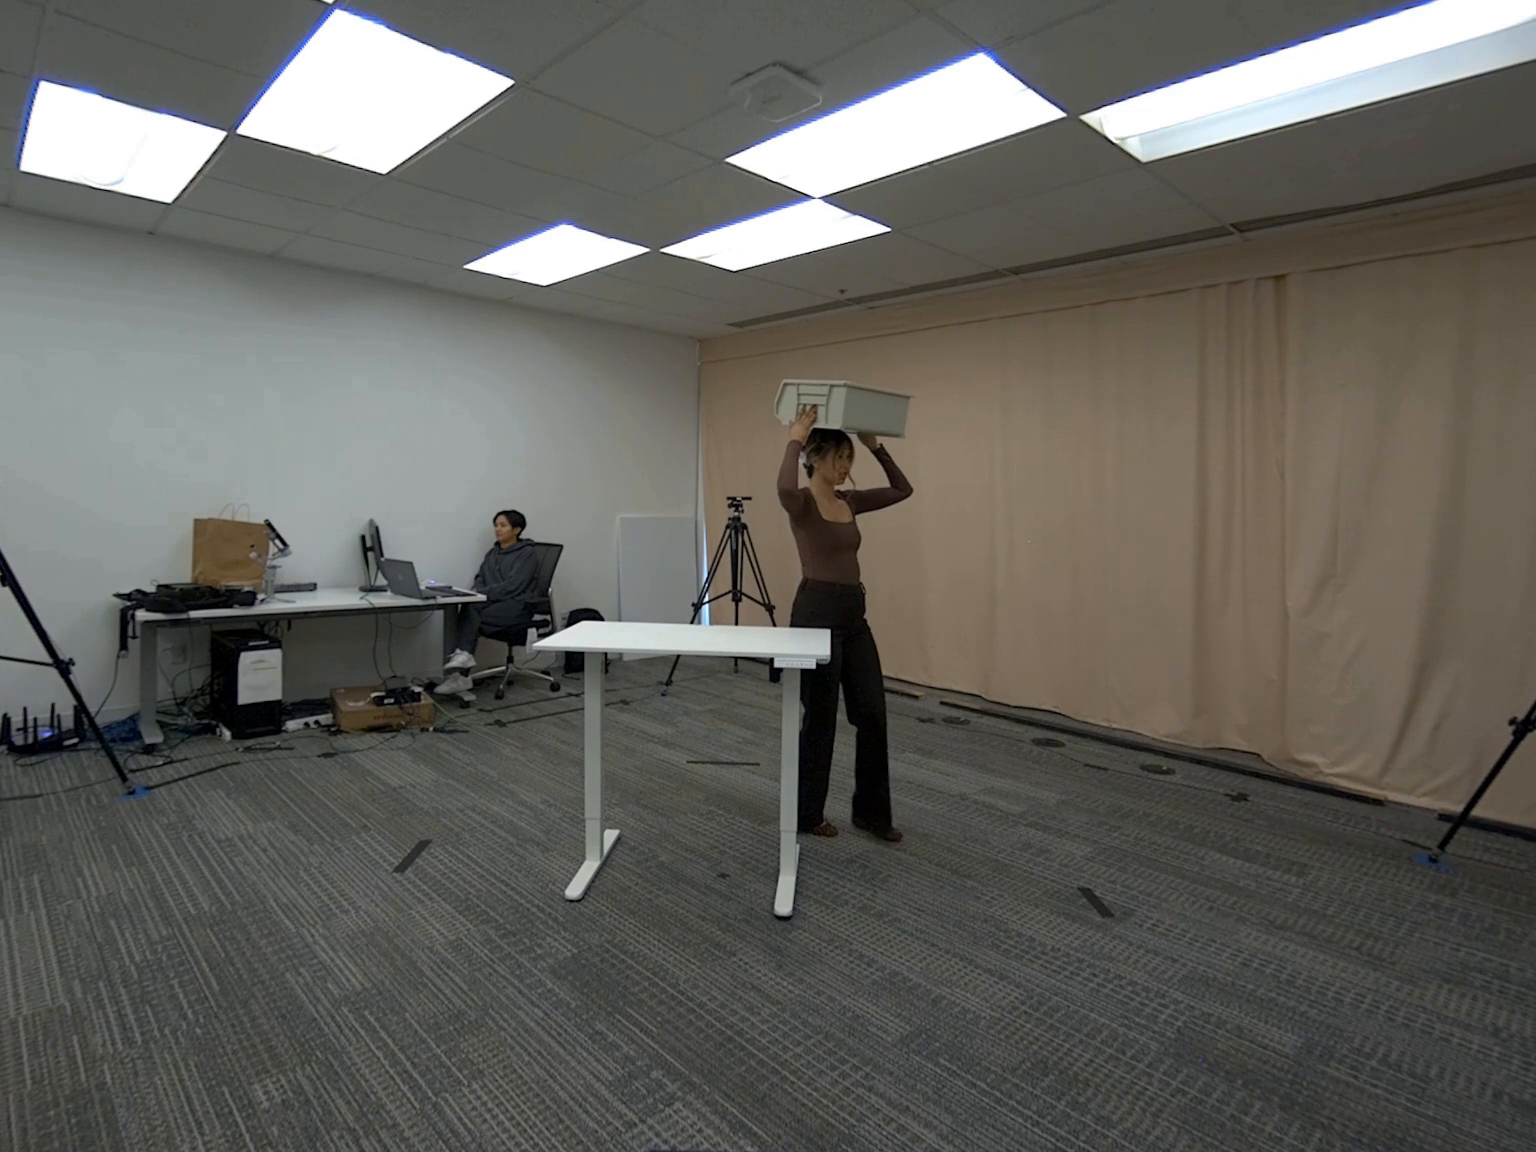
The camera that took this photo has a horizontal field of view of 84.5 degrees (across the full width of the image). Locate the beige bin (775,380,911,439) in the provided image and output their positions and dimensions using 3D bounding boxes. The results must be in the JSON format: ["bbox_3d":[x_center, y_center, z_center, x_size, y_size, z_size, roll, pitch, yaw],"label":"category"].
[{"bbox_3d":[0.301,-0.678,3.424,0.412,0.188,0.388,-1,12,-42],"label":"beige bin"}]
